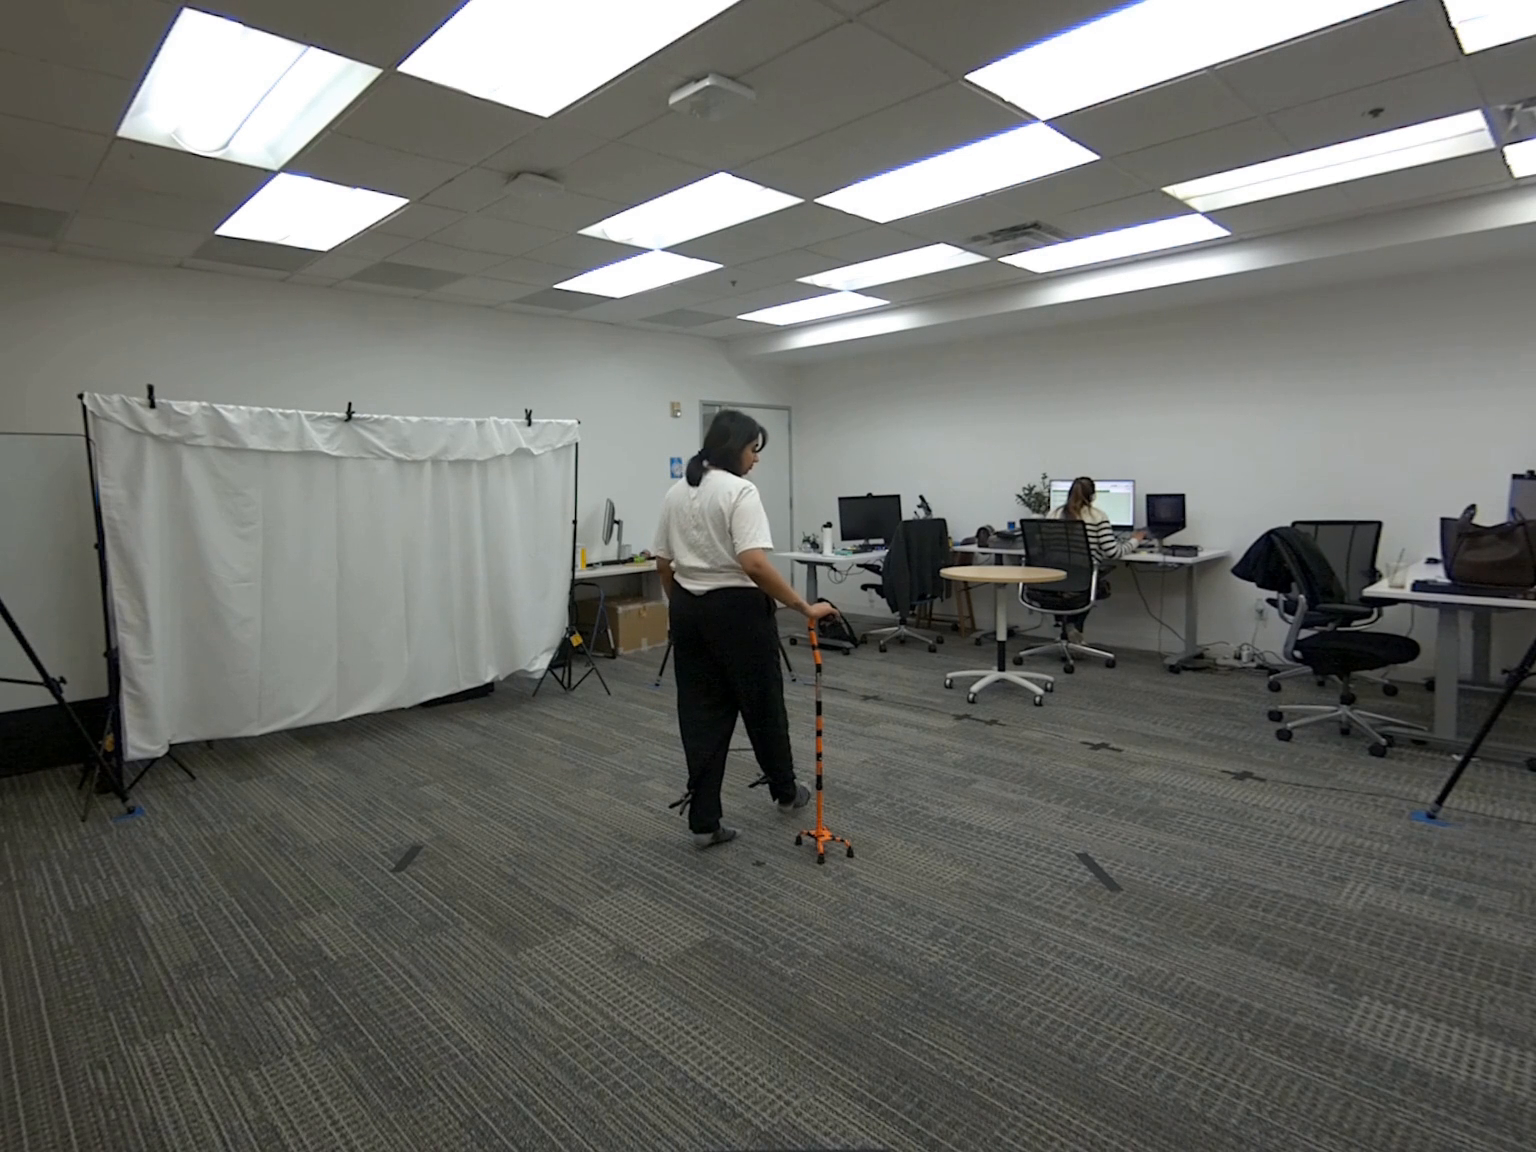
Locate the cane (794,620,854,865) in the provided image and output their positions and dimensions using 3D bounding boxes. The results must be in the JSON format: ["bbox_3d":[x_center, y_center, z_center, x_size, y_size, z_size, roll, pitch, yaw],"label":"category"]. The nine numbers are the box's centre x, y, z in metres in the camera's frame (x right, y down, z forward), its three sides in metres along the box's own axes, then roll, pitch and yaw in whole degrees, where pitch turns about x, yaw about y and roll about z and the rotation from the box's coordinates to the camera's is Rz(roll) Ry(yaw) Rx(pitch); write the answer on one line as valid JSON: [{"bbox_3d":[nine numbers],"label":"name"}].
[{"bbox_3d":[0.205,0.578,3.183,0.148,0.905,0.212,-2,3,-27],"label":"cane"}]
